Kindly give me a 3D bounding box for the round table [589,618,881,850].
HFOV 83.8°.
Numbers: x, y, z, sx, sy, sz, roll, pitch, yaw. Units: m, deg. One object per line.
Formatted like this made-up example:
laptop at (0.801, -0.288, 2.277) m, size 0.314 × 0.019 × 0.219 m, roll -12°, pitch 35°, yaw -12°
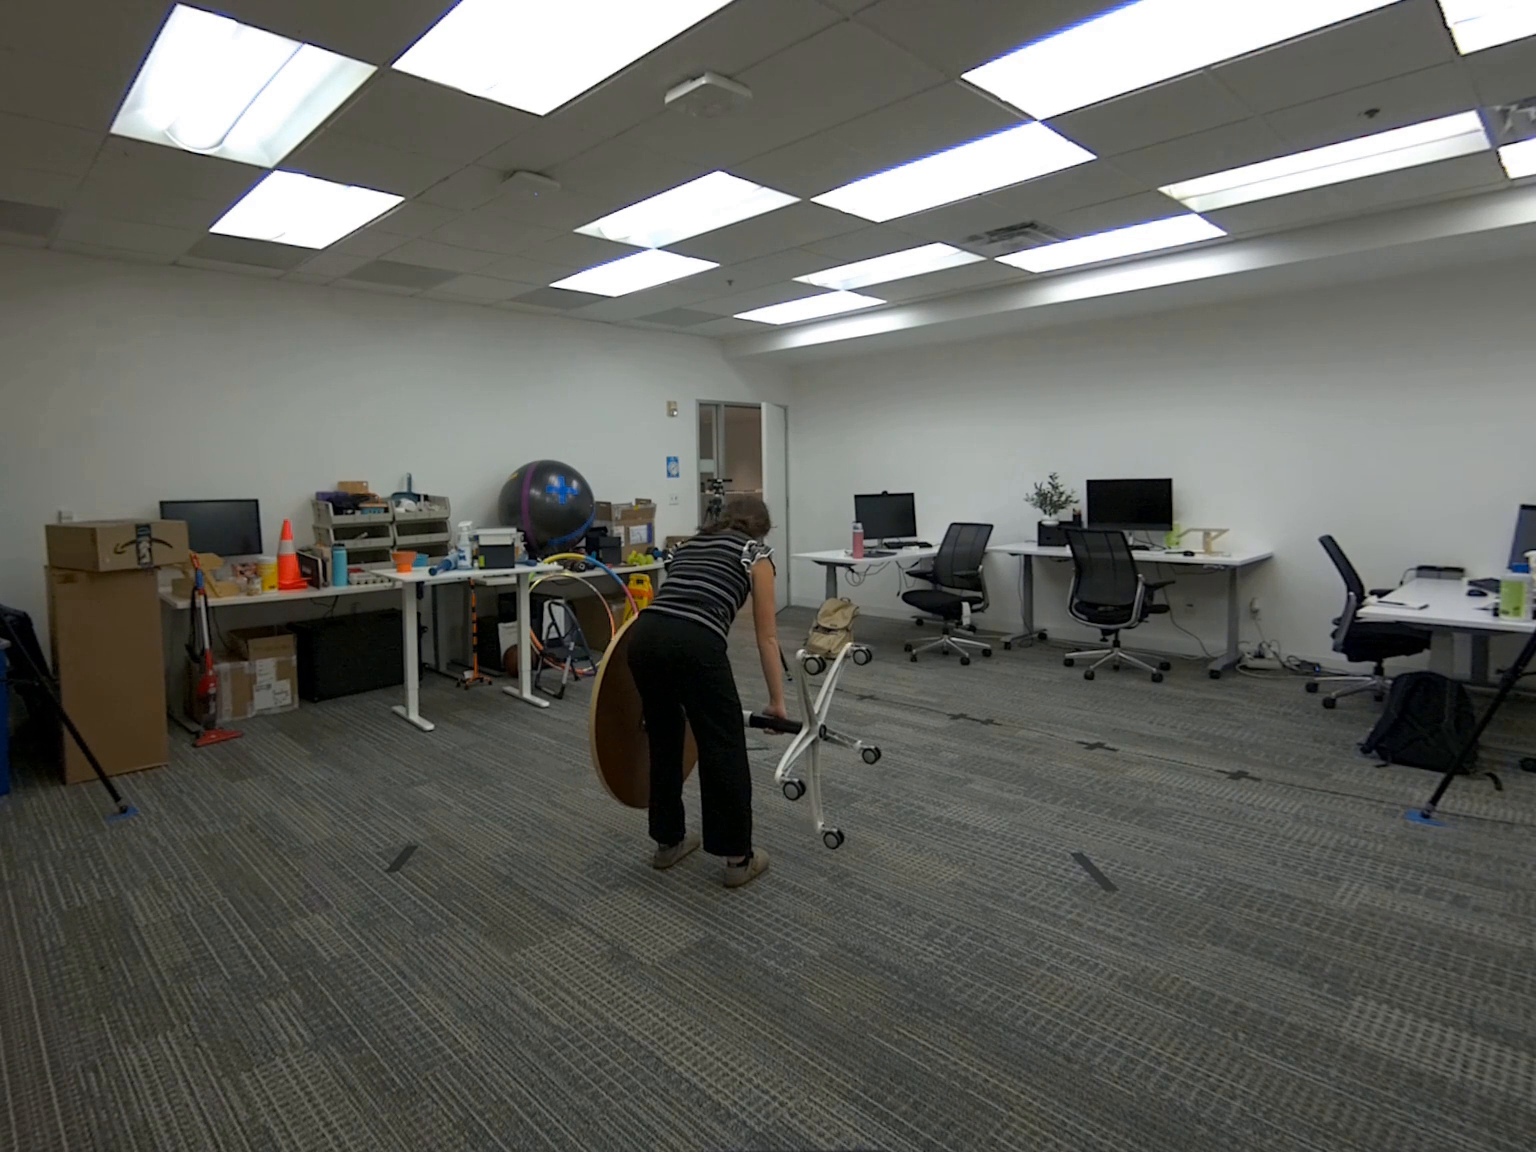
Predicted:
round table at (-0.087, 0.527, 3.073) m, size 0.815 × 0.761 × 0.747 m, roll 3°, pitch 6°, yaw 31°
